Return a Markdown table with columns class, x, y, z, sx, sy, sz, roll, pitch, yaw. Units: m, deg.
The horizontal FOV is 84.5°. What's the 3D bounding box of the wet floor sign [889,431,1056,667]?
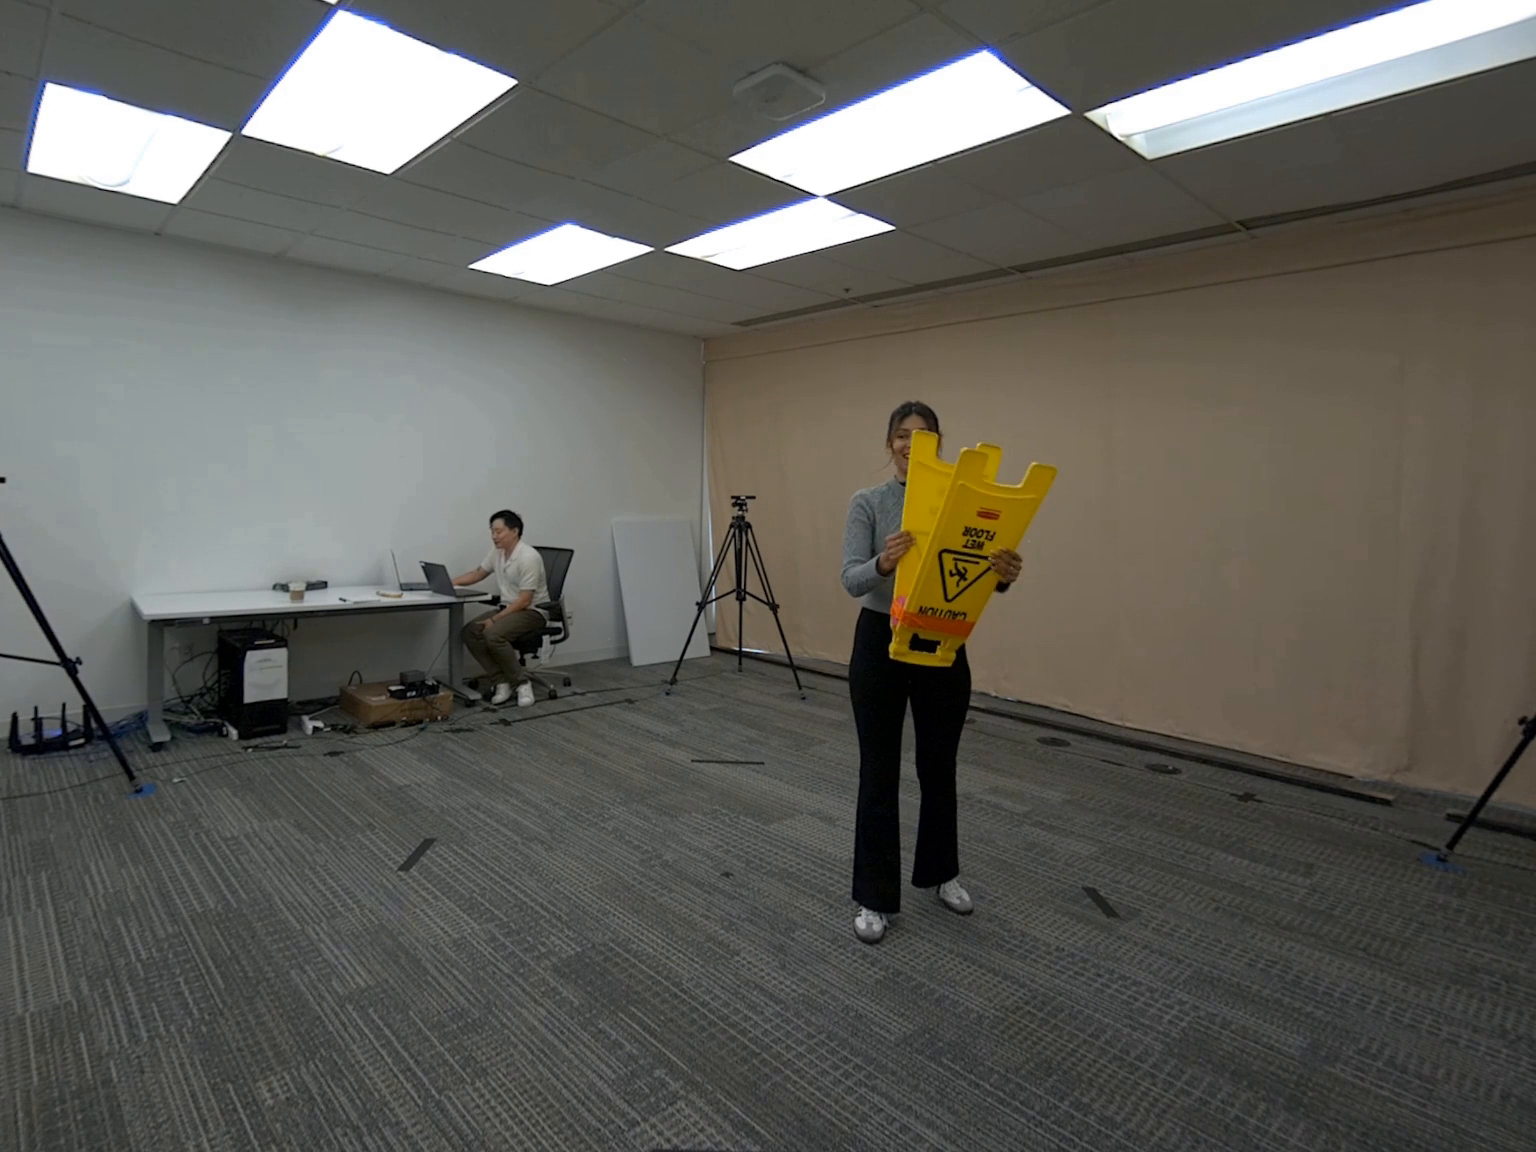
| class | x | y | z | sx | sy | sz | roll | pitch | yaw |
| --- | --- | --- | --- | --- | --- | --- | --- | --- | --- |
| wet floor sign | 0.493 | -0.050 | 2.361 | 0.278 | 0.641 | 0.296 | 8 | 16 | -16 |
